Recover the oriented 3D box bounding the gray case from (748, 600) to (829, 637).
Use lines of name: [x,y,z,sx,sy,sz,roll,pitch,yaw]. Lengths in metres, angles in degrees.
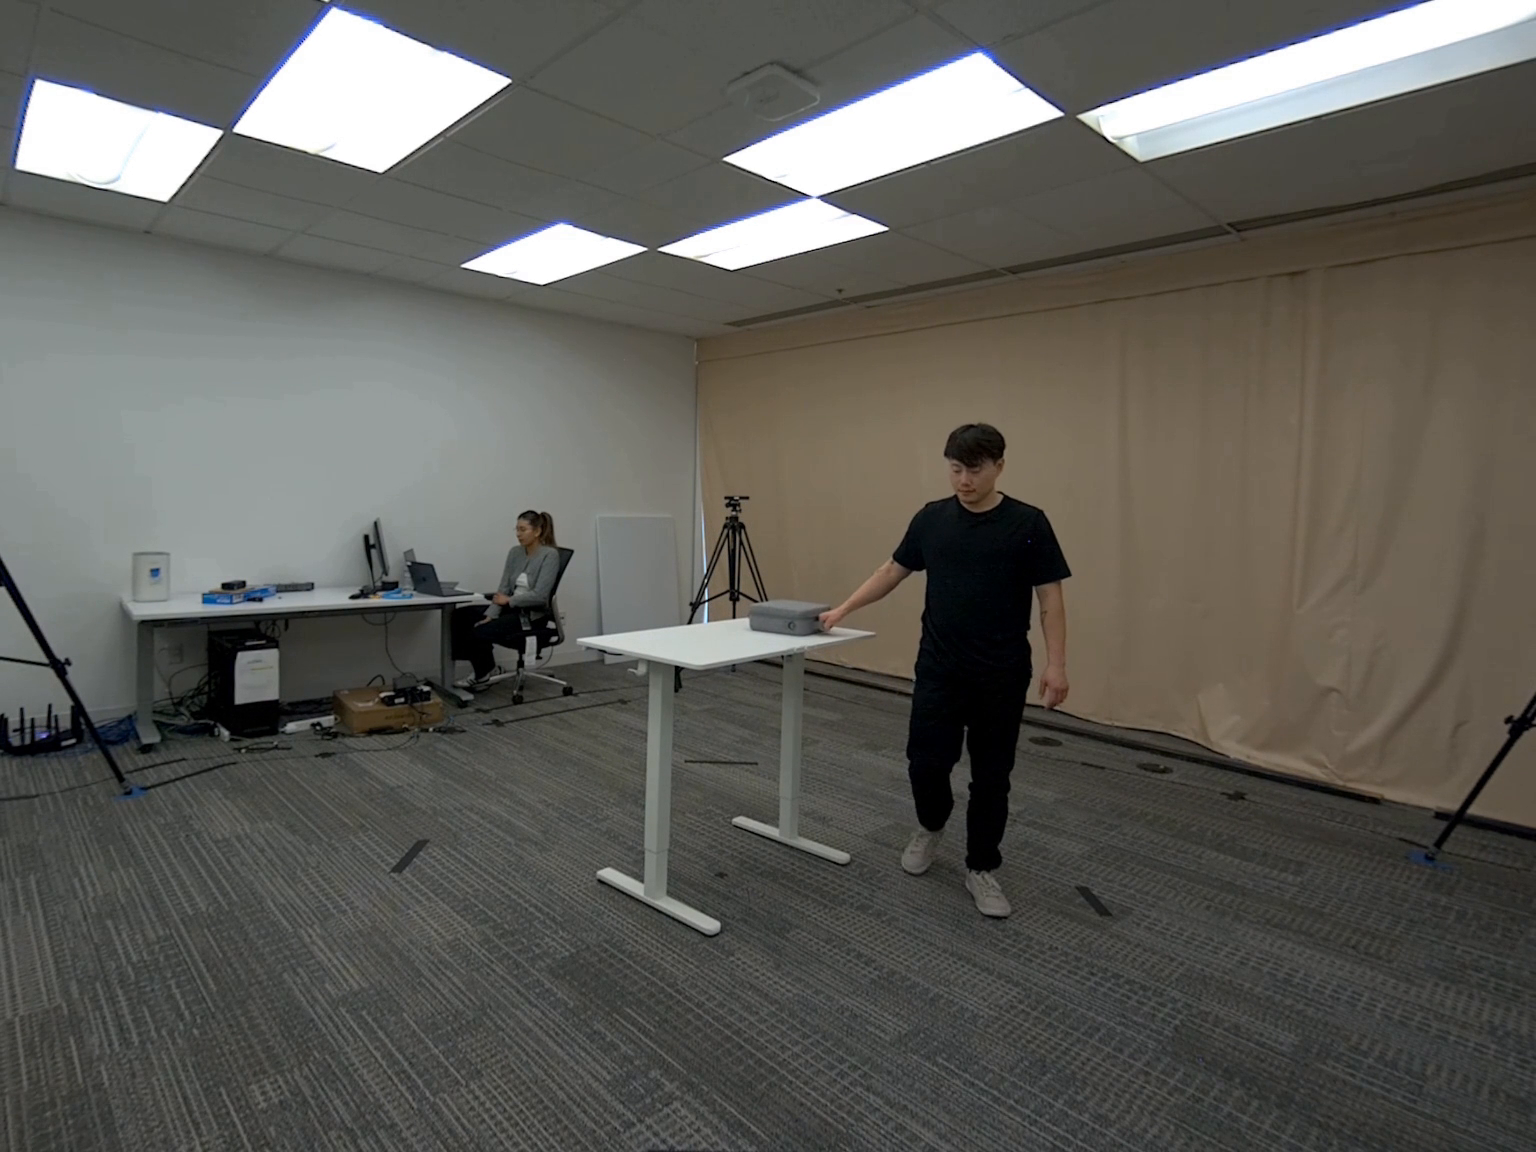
gray case: [0.080,0.158,3.291,0.267,0.104,0.251,6,5,32]
